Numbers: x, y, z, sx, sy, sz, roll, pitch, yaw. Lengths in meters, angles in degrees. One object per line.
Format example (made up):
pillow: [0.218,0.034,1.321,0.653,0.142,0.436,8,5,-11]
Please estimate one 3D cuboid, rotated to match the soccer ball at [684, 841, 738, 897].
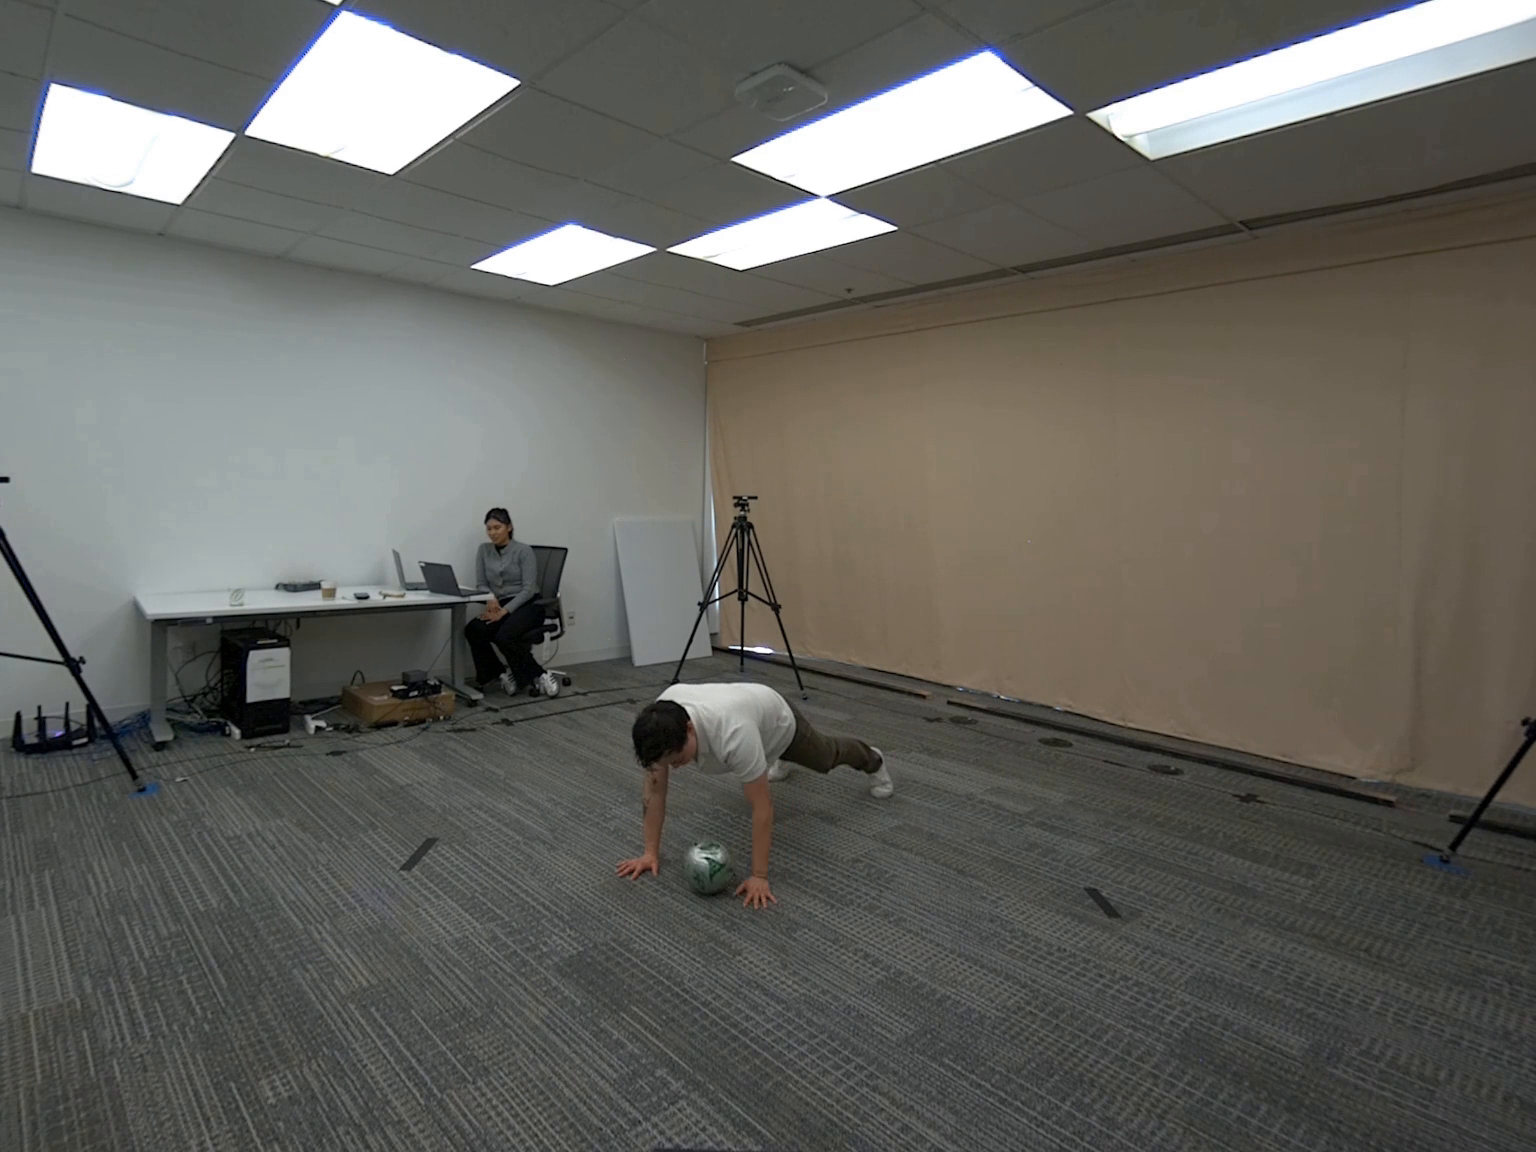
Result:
soccer ball: [-0.220,1.023,2.964,0.187,0.187,0.188,1,4,-1]
